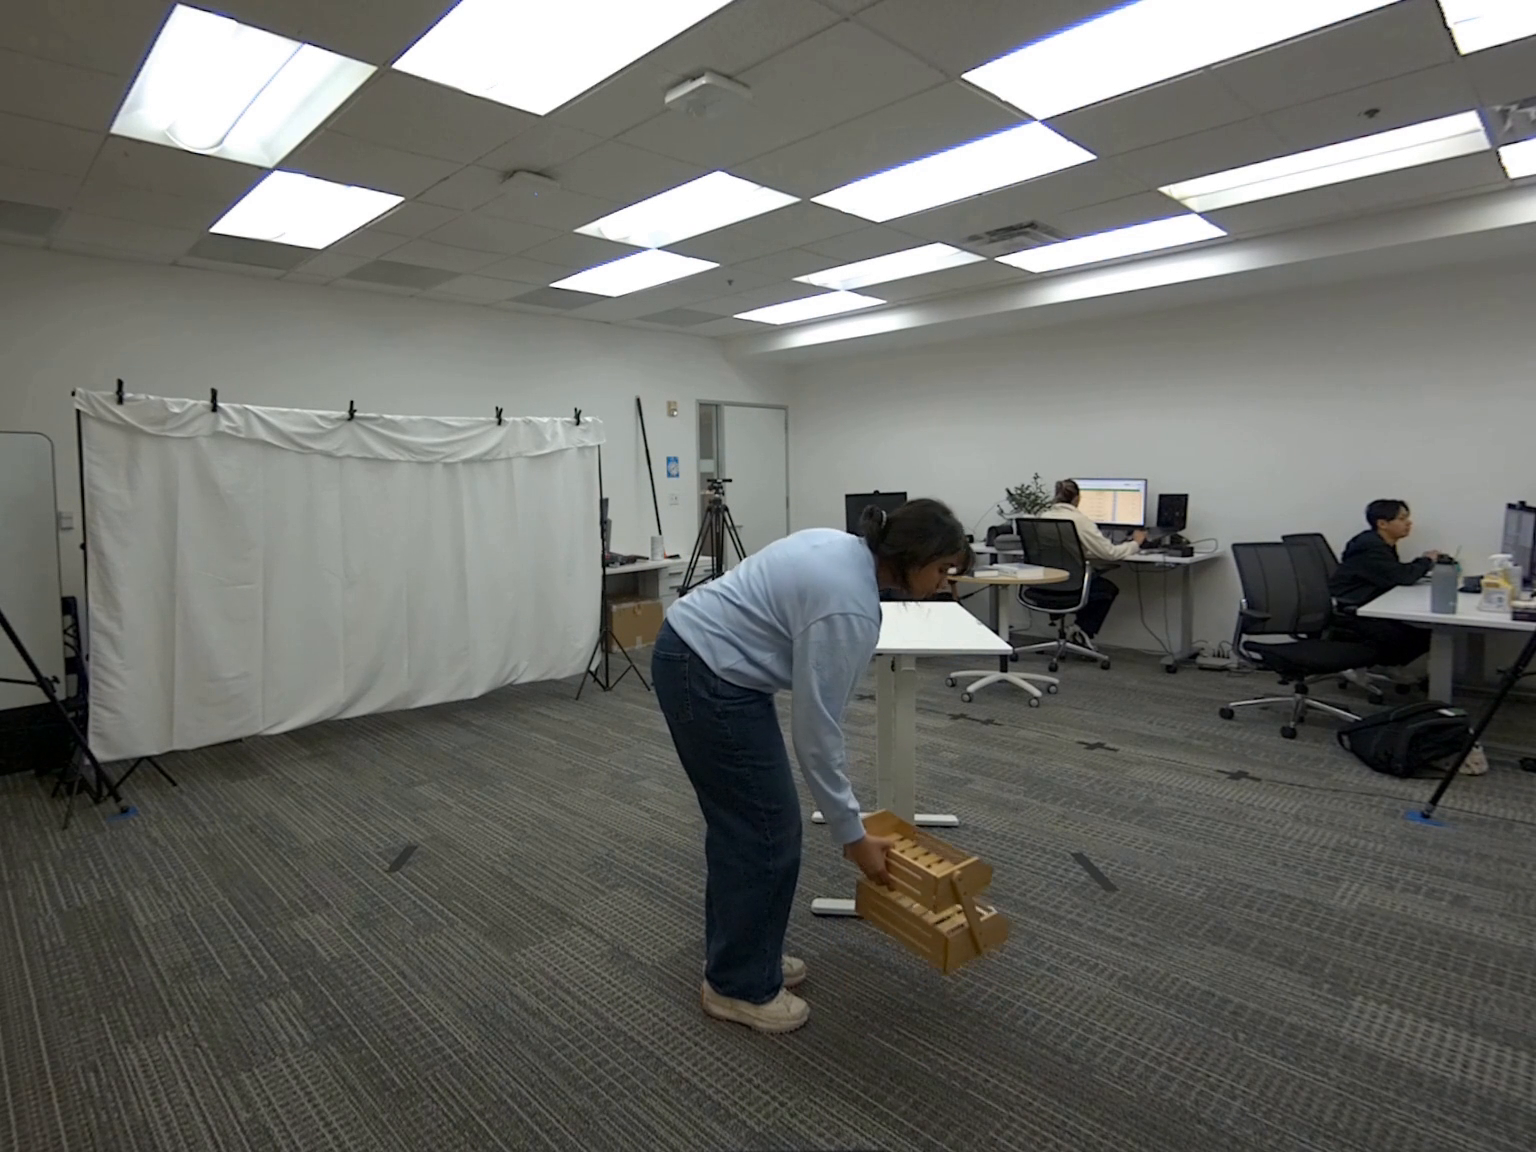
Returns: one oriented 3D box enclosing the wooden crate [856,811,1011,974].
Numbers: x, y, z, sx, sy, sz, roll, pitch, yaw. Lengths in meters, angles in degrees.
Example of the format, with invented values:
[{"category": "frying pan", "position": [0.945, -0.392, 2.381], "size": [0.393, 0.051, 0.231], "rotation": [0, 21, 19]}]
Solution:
[{"category": "wooden crate", "position": [0.402, 0.756, 2.155], "size": [0.294, 0.271, 0.335], "rotation": [-6, 12, -37]}]
